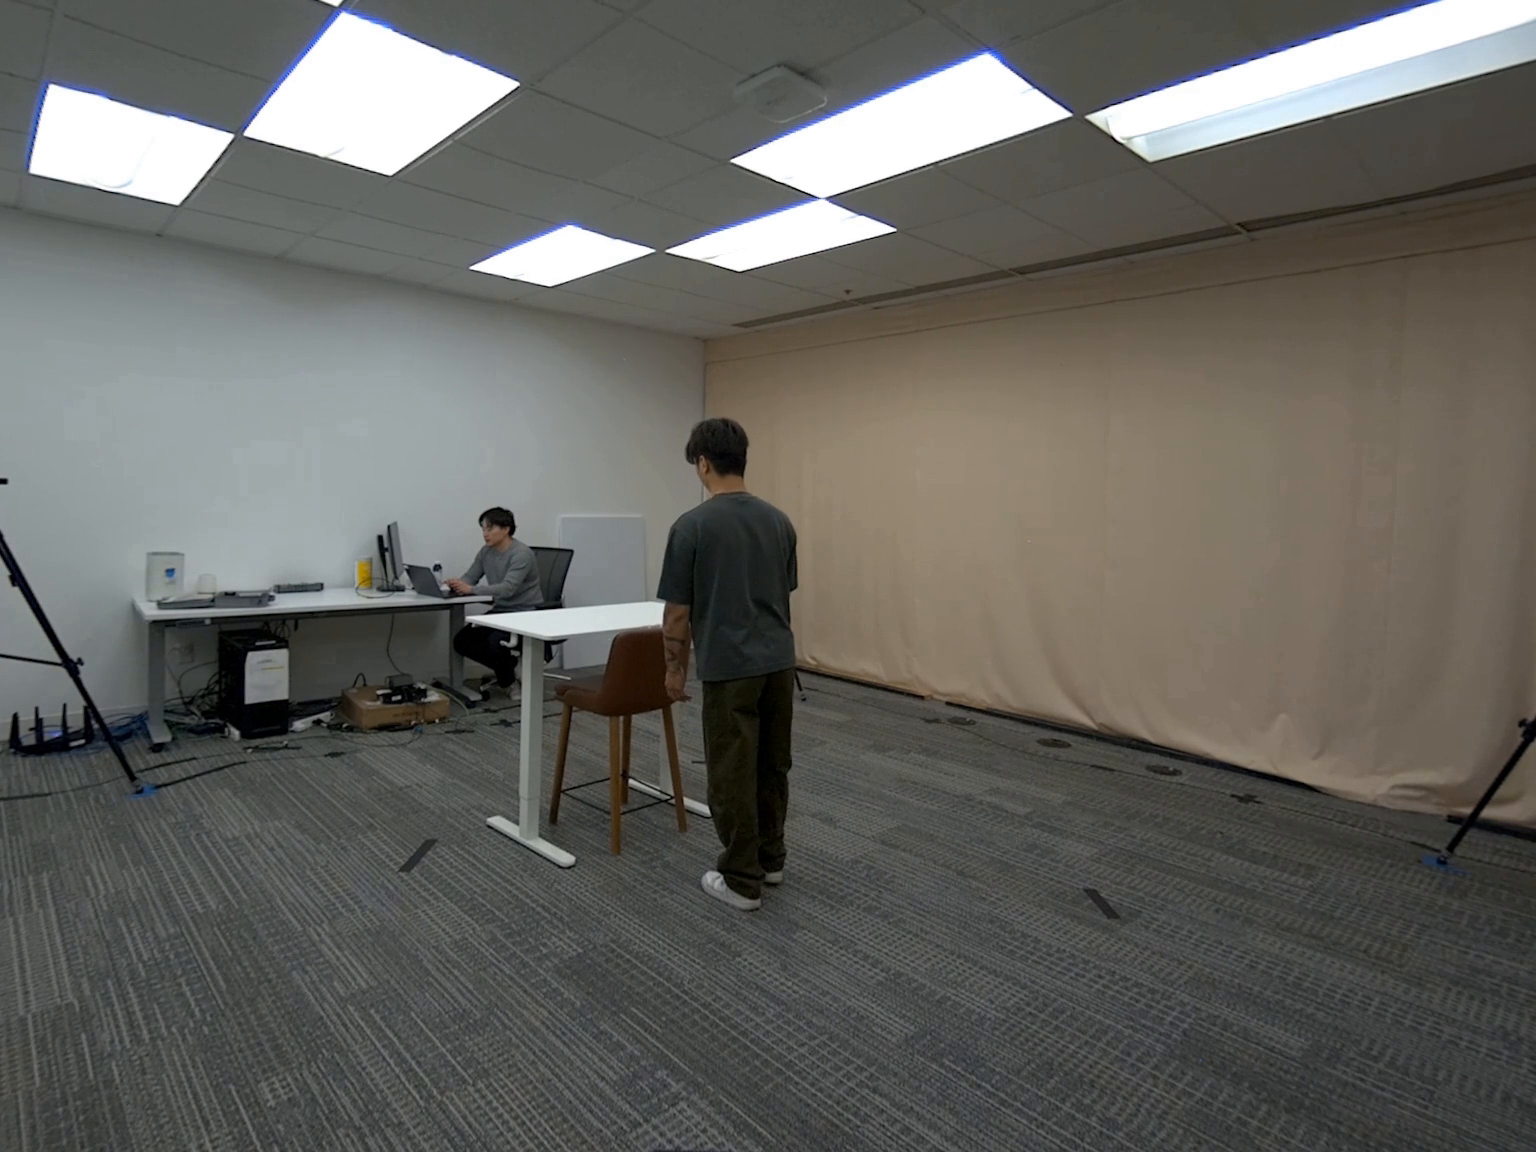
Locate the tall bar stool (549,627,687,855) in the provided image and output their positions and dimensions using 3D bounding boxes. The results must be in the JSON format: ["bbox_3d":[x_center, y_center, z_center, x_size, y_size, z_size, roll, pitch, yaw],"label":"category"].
[{"bbox_3d":[-0.616,0.624,3.510,0.480,0.887,0.446,7,7,43],"label":"tall bar stool"}]
